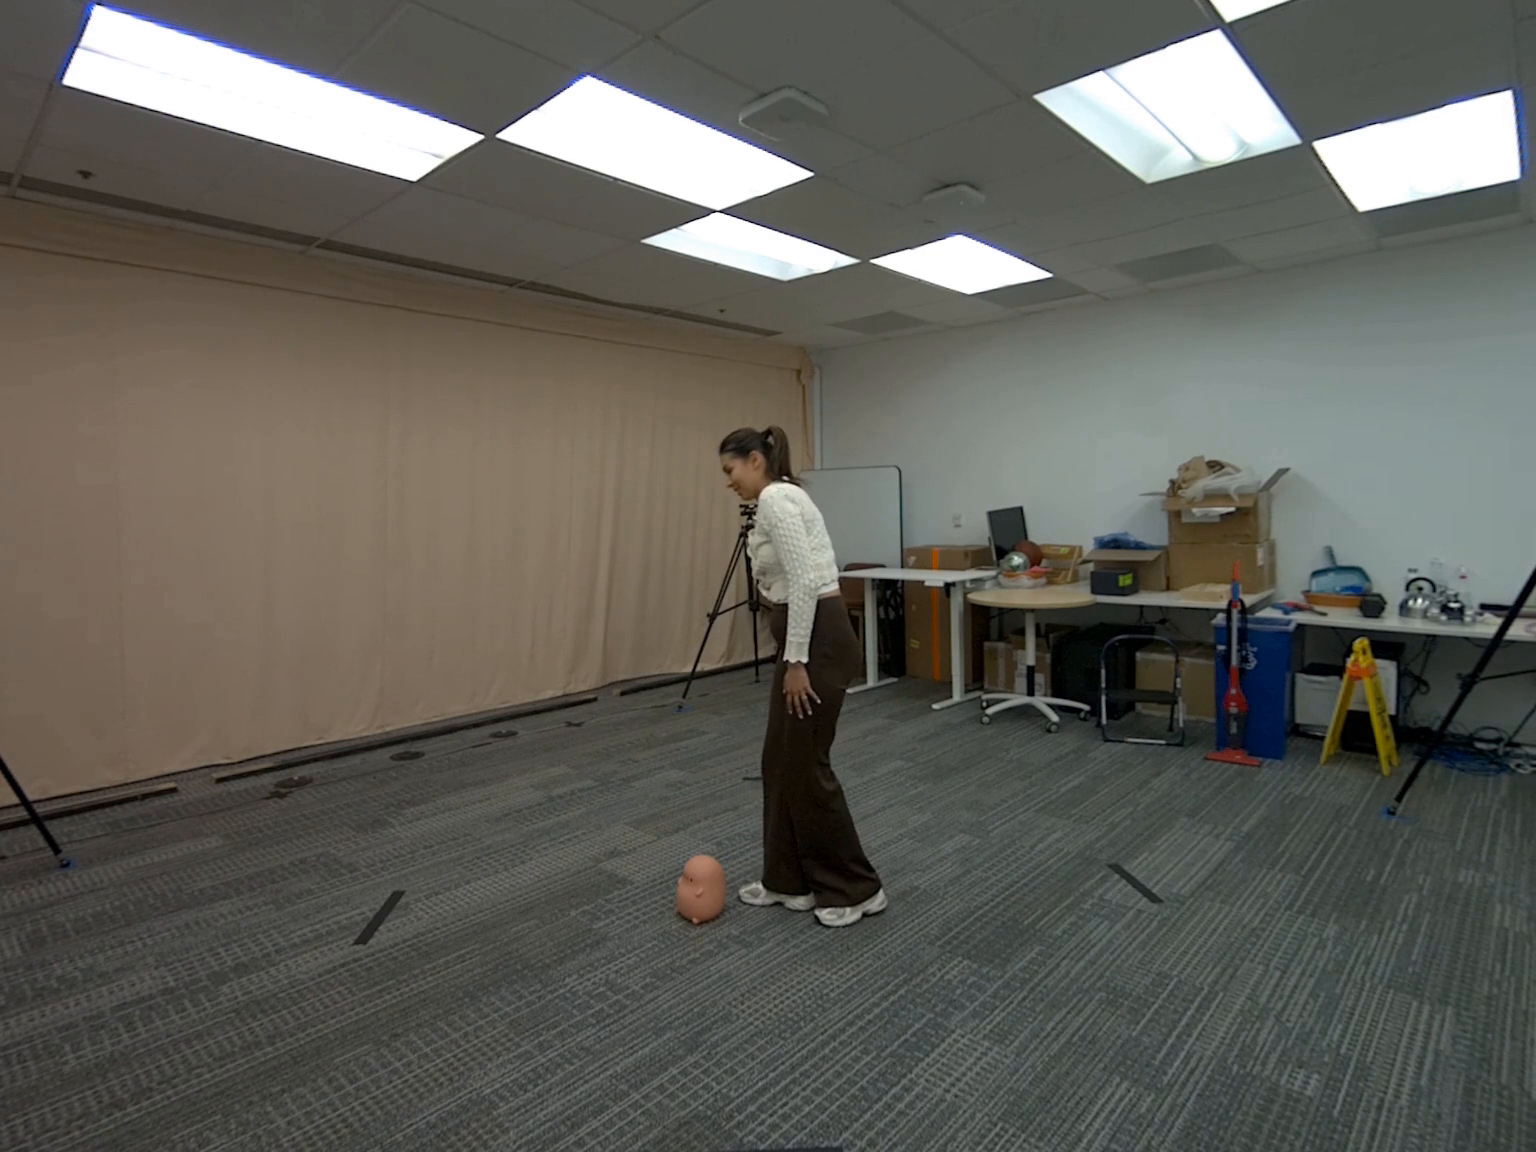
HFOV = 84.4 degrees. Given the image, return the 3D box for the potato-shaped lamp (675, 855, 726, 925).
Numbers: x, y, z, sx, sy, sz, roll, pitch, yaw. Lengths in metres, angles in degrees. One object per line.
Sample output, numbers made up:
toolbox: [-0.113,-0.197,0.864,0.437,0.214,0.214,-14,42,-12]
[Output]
potato-shaped lamp: [-0.225,1.055,2.866,0.166,0.197,0.170,-4,5,-34]
